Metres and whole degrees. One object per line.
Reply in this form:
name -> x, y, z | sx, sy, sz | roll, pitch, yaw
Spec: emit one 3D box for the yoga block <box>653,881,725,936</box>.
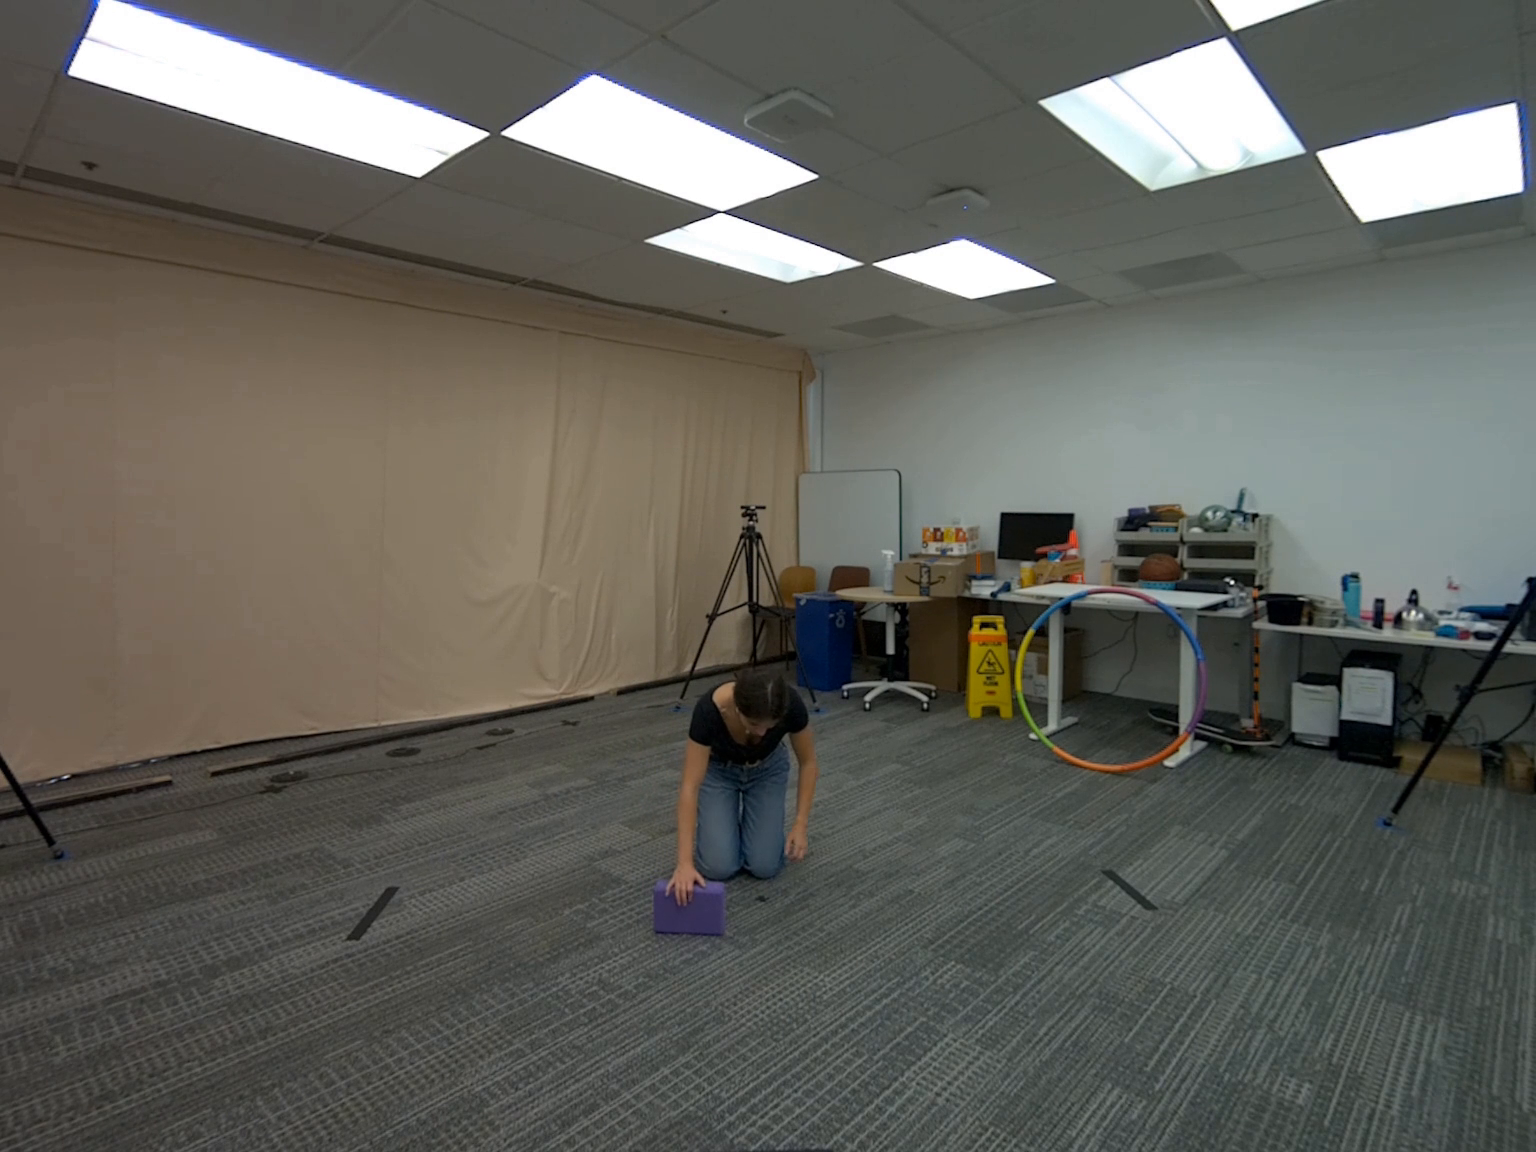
yoga block -> -0.253, 1.083, 2.767 | 0.231, 0.148, 0.076 | 3, 4, 5
